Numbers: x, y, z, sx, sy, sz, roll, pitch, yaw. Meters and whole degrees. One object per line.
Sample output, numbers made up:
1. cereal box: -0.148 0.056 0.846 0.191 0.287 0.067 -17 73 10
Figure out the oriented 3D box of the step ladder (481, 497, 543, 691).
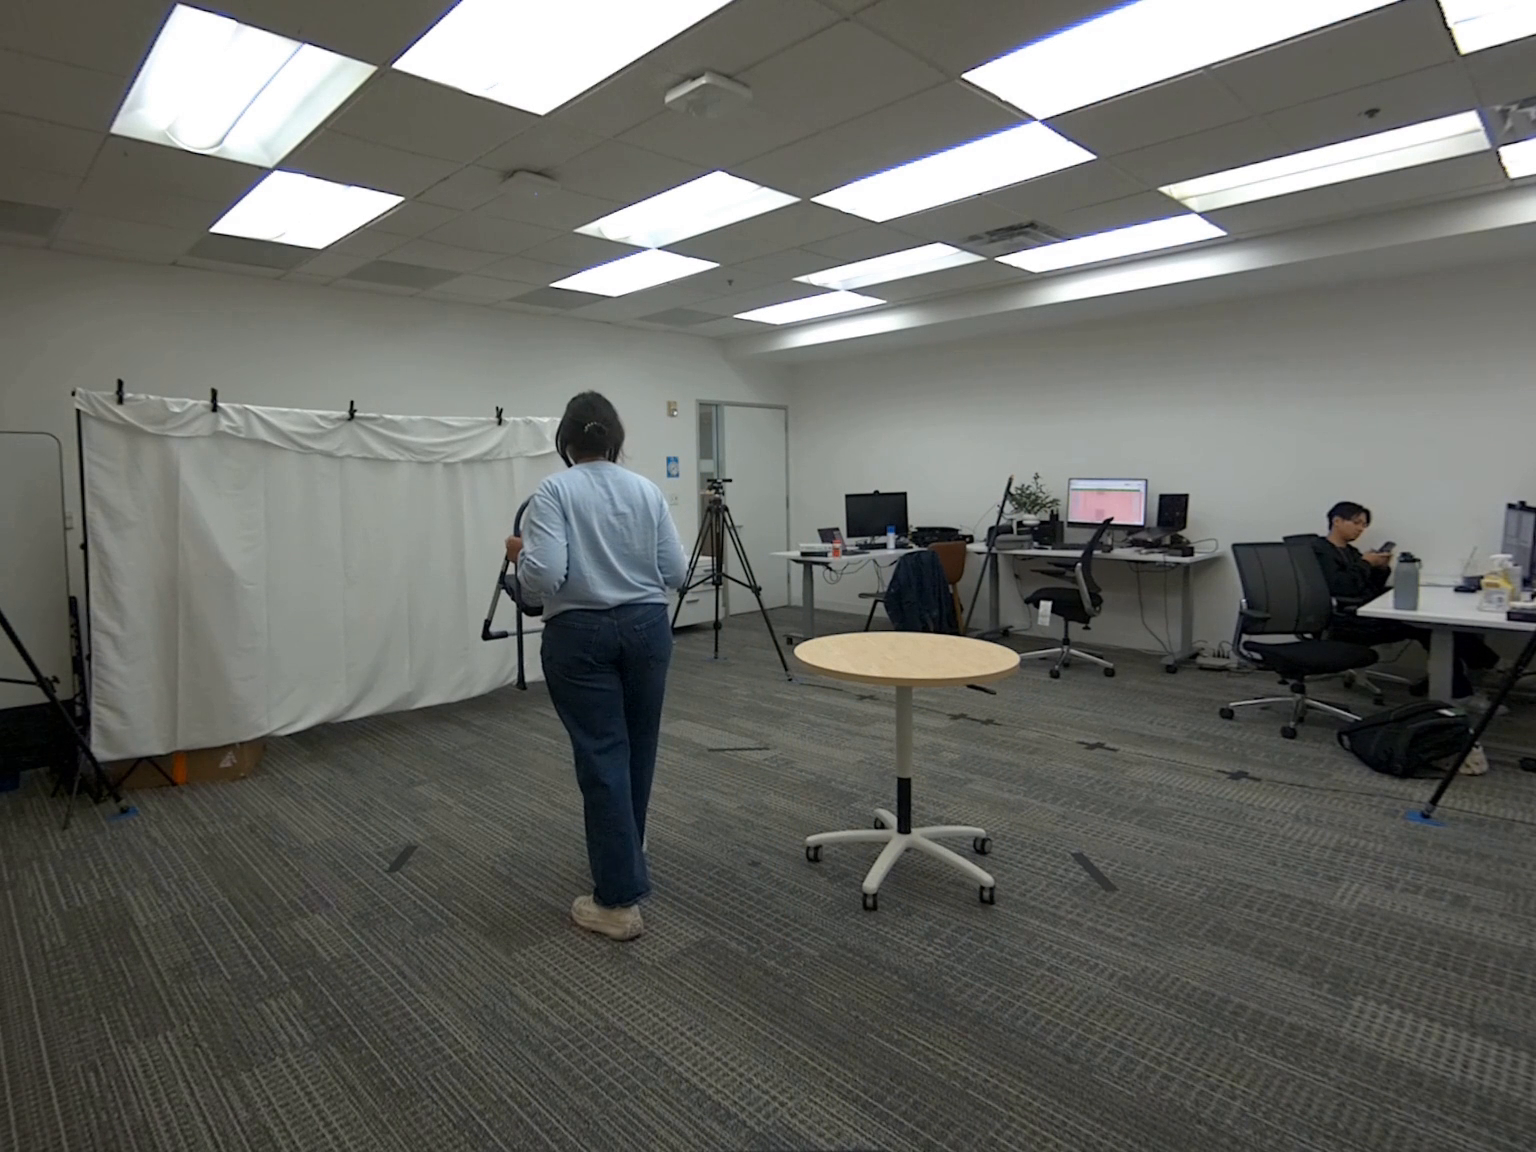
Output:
1. step ladder: -0.690 0.002 2.952 0.419 0.599 0.363 -5 26 -42
